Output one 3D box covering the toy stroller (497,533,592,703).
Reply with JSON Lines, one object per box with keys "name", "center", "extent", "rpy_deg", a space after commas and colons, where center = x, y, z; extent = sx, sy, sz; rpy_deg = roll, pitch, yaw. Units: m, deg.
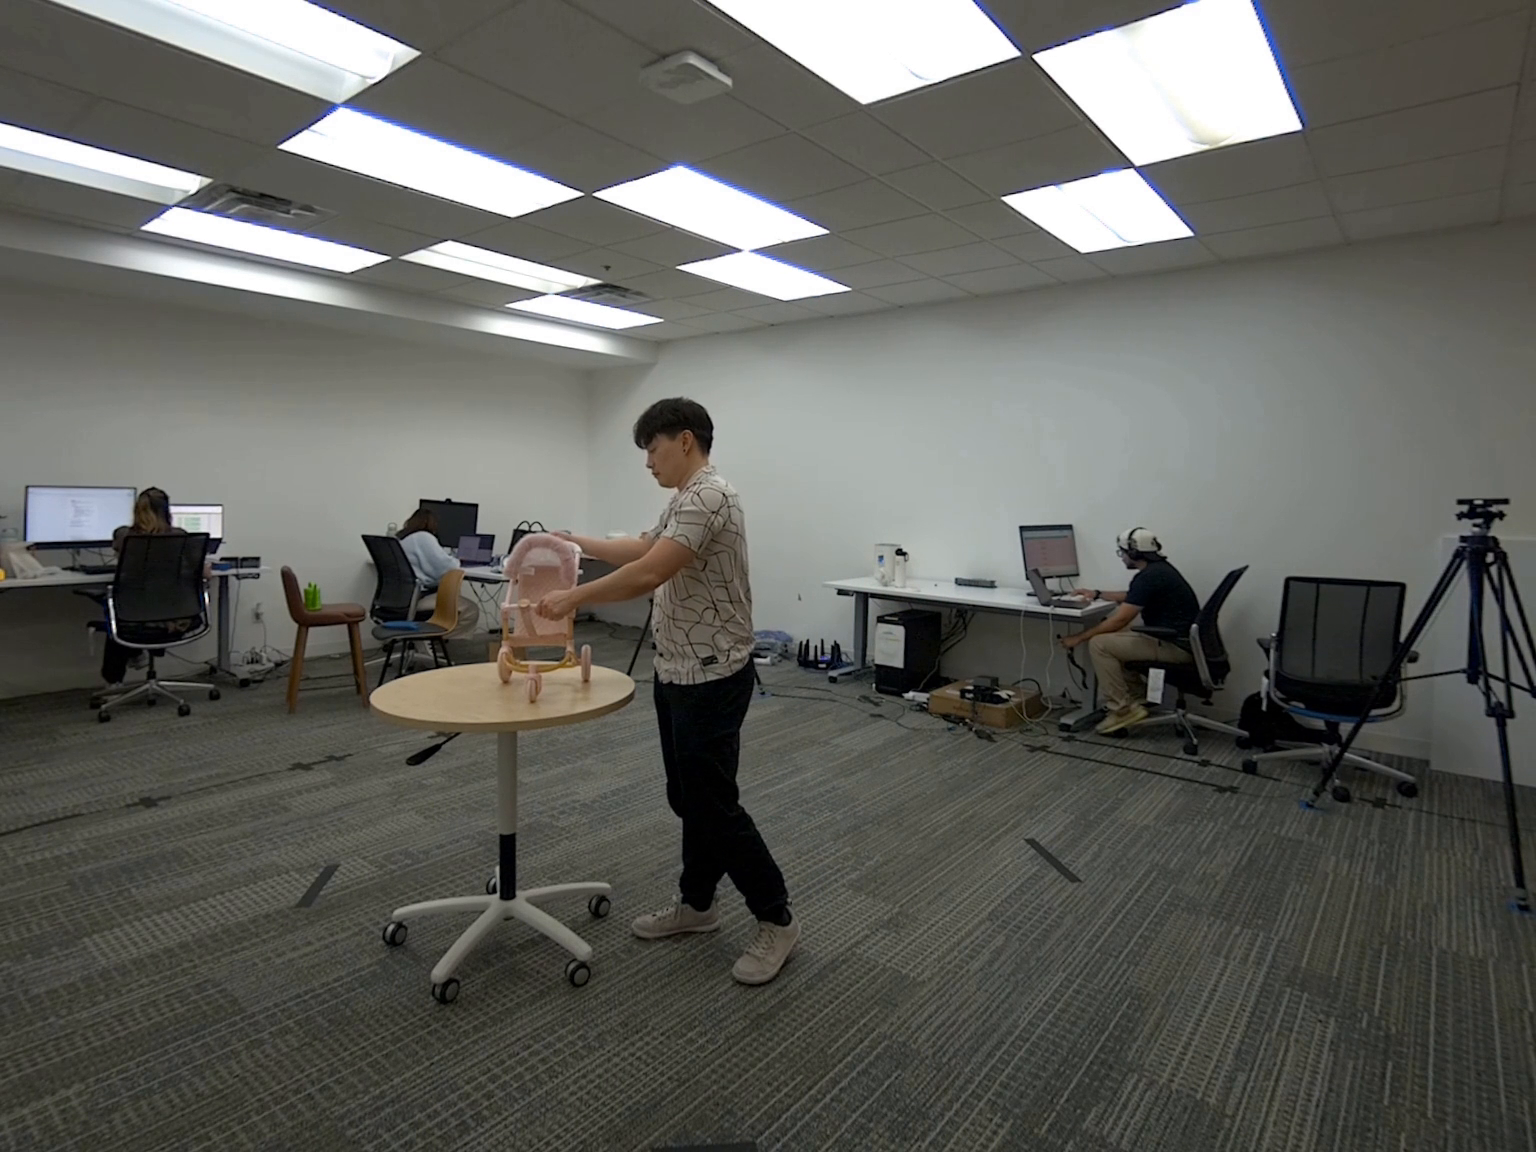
{"name": "toy stroller", "center": [-0.694, 0.111, 2.569], "extent": [0.281, 0.541, 0.338], "rpy_deg": [0, -11, -2]}
